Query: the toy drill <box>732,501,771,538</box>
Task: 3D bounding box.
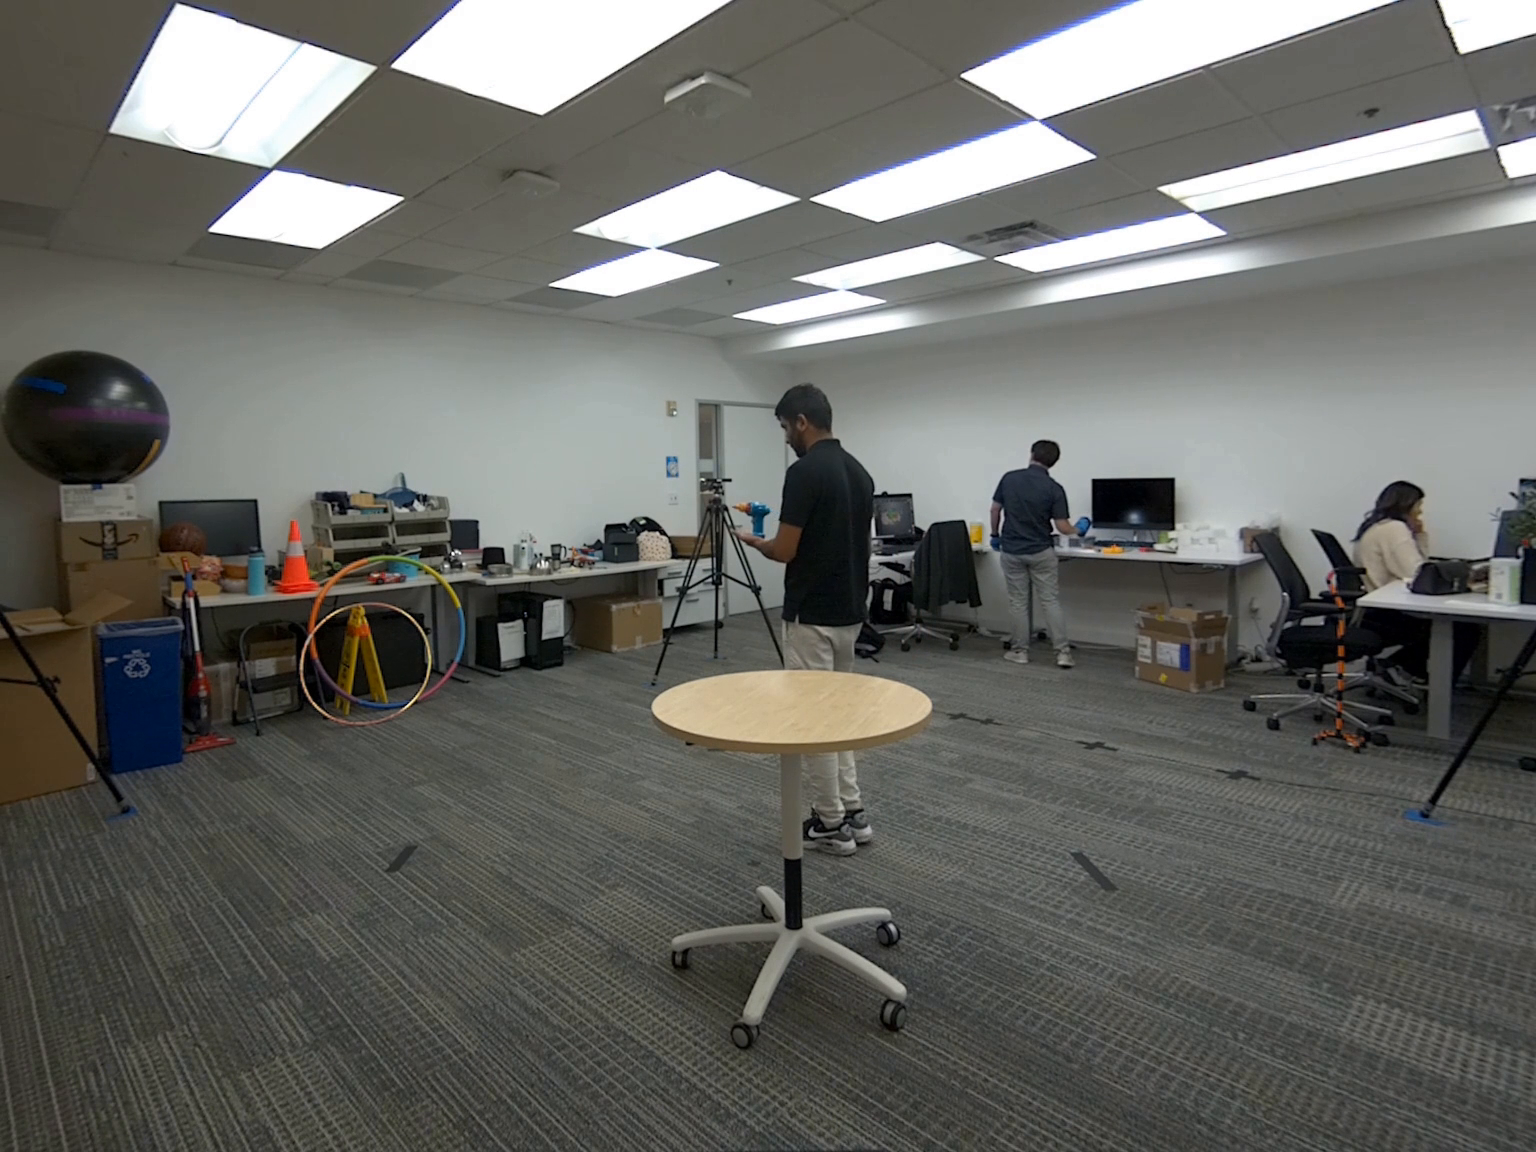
[{"bbox_3d":[-0.071,-0.227,3.357,0.165,0.146,0.063,6,-1,-28],"label":"toy drill"}]
